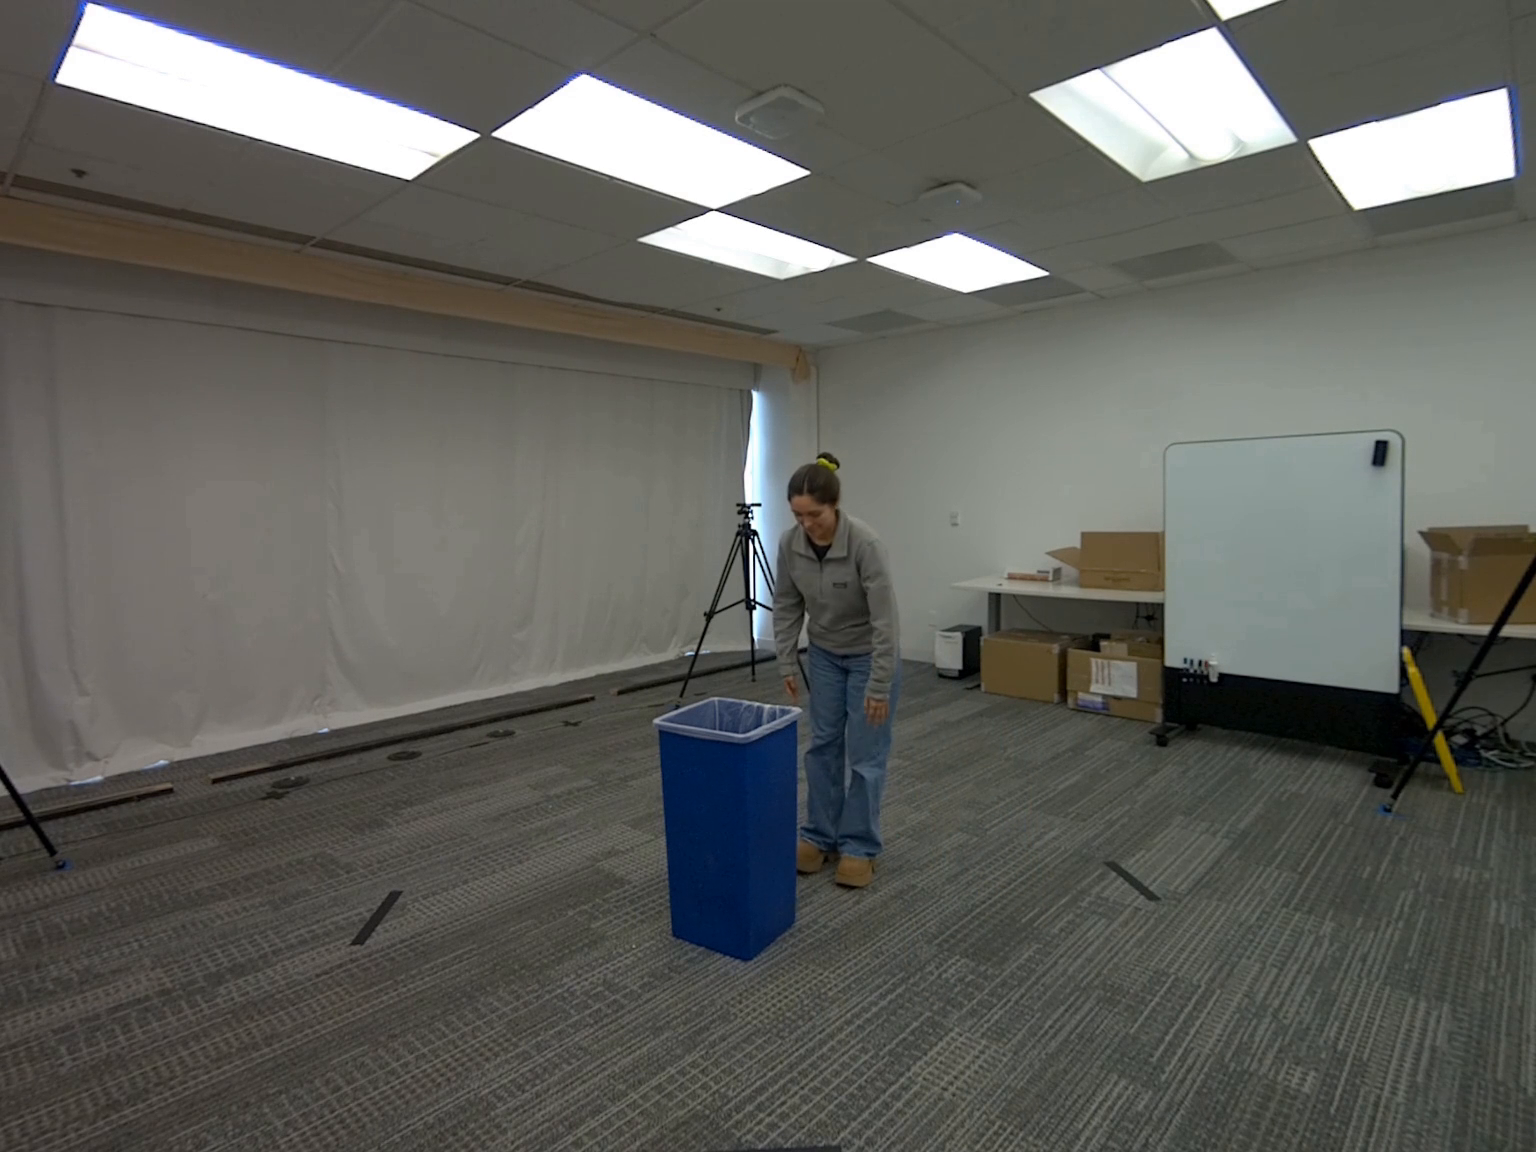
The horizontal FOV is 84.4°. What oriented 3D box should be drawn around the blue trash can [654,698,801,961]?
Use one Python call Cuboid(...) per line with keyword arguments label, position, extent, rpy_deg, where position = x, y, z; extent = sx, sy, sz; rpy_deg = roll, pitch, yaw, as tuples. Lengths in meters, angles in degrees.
Cuboid(label="blue trash can", position=(-0.117, 0.803, 2.730), extent=(0.389, 0.712, 0.363), rpy_deg=(1, 3, 33))
